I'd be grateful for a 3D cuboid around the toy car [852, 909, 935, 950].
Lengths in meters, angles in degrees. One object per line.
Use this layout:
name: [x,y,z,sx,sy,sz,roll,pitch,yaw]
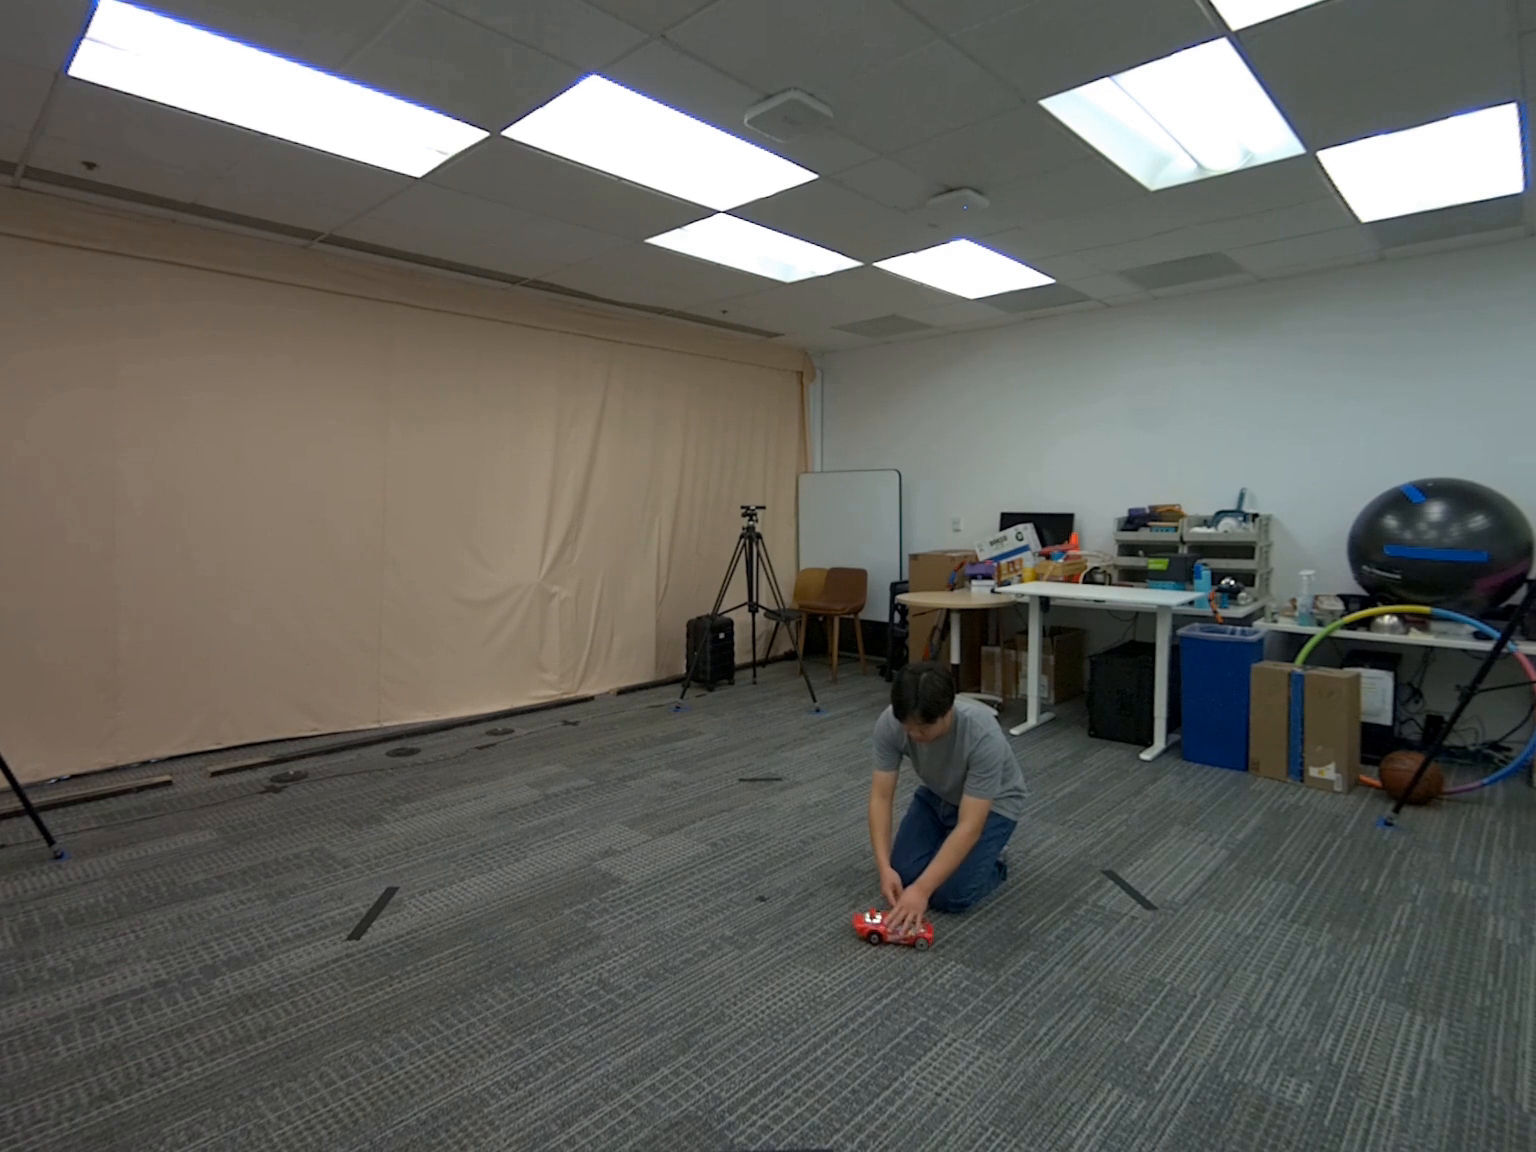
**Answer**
toy car: [0.398,1.136,2.706,0.258,0.083,0.129,13,8,12]
